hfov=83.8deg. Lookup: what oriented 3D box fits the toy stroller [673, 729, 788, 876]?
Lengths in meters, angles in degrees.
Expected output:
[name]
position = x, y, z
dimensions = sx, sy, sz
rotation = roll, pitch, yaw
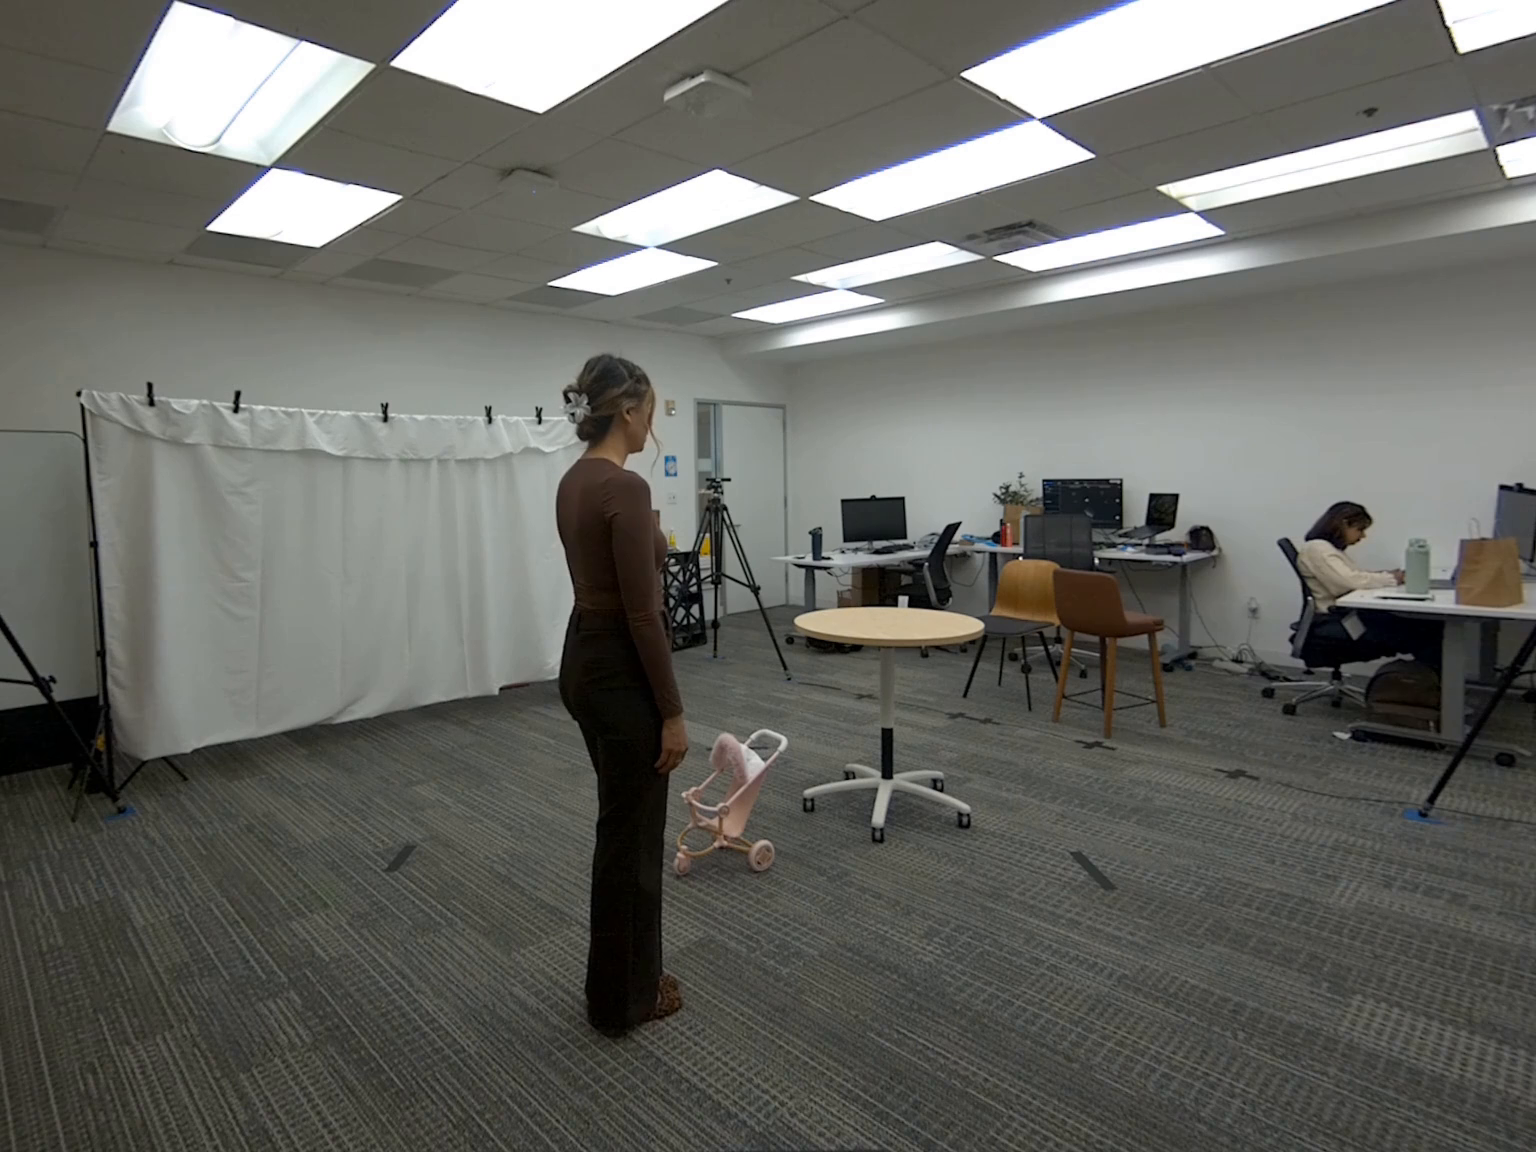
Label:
[toy stroller]
position = -0.150, 0.816, 3.102
dimensions = 0.331, 0.536, 0.289
rotation = 14, -4, -29
